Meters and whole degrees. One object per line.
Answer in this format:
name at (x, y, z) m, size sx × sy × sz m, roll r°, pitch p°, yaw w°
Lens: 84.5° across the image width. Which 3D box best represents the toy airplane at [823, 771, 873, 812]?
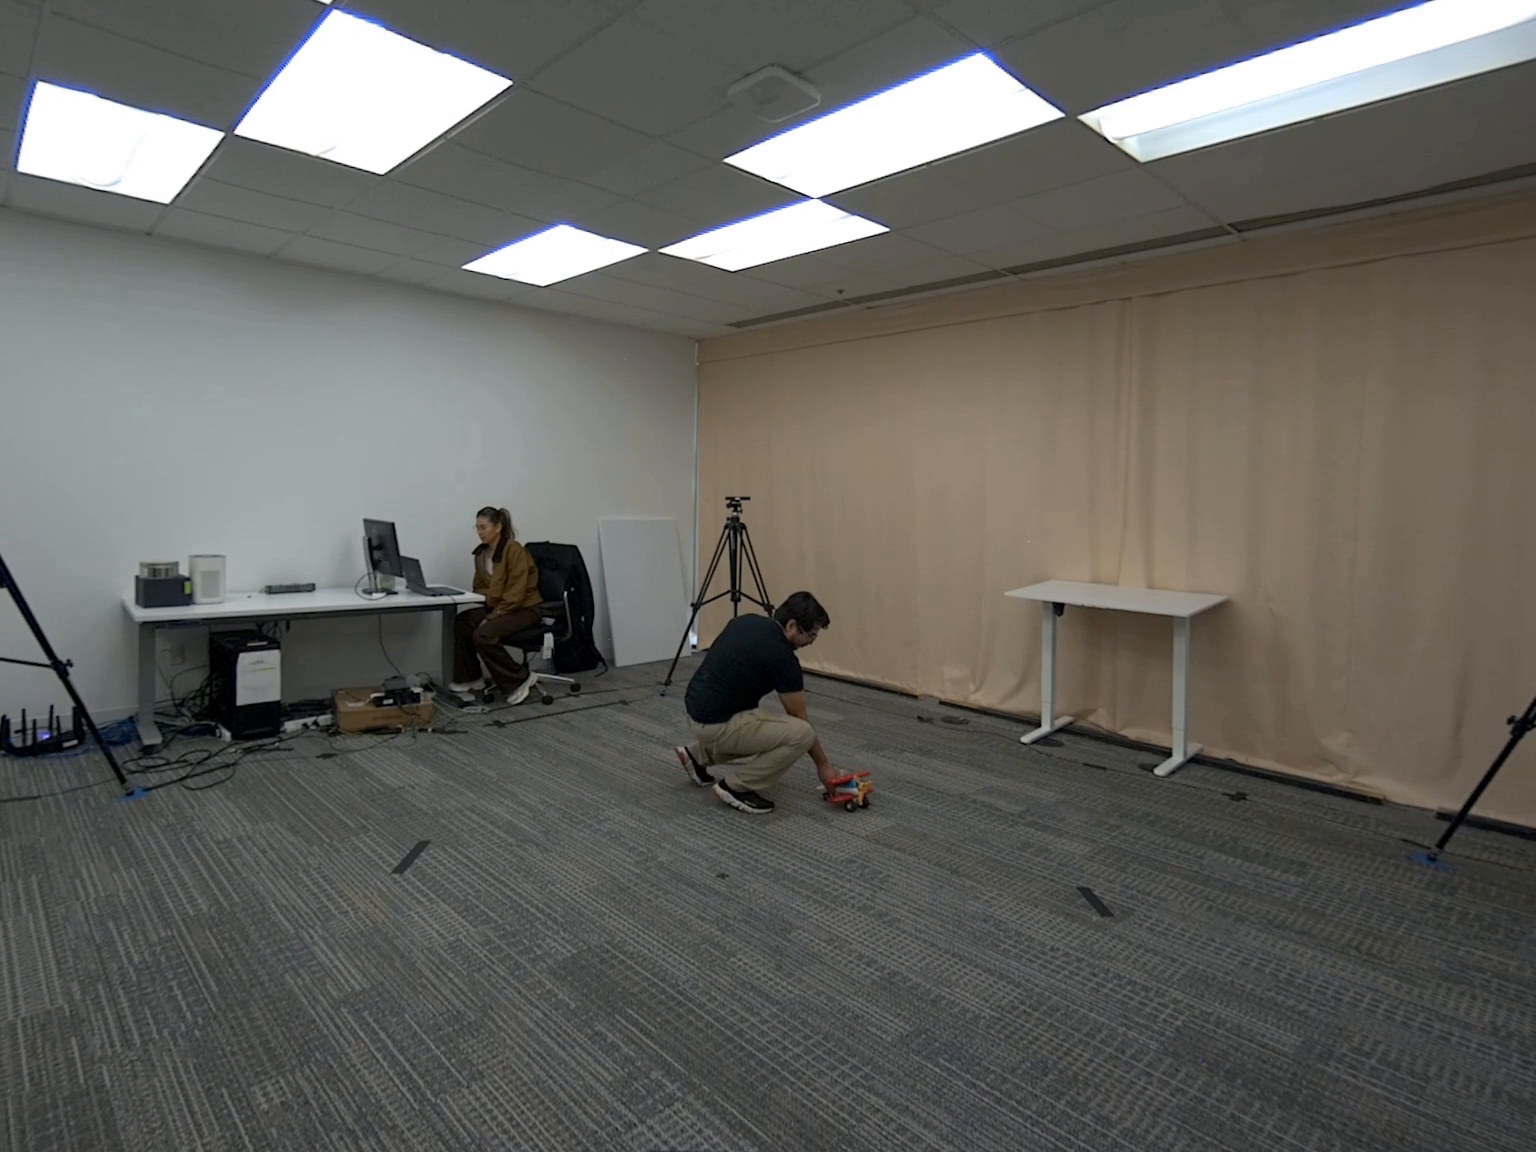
toy airplane at (0.325, 0.979, 3.869) m, size 0.264 × 0.156 × 0.247 m, roll 4°, pitch 5°, yaw 21°
